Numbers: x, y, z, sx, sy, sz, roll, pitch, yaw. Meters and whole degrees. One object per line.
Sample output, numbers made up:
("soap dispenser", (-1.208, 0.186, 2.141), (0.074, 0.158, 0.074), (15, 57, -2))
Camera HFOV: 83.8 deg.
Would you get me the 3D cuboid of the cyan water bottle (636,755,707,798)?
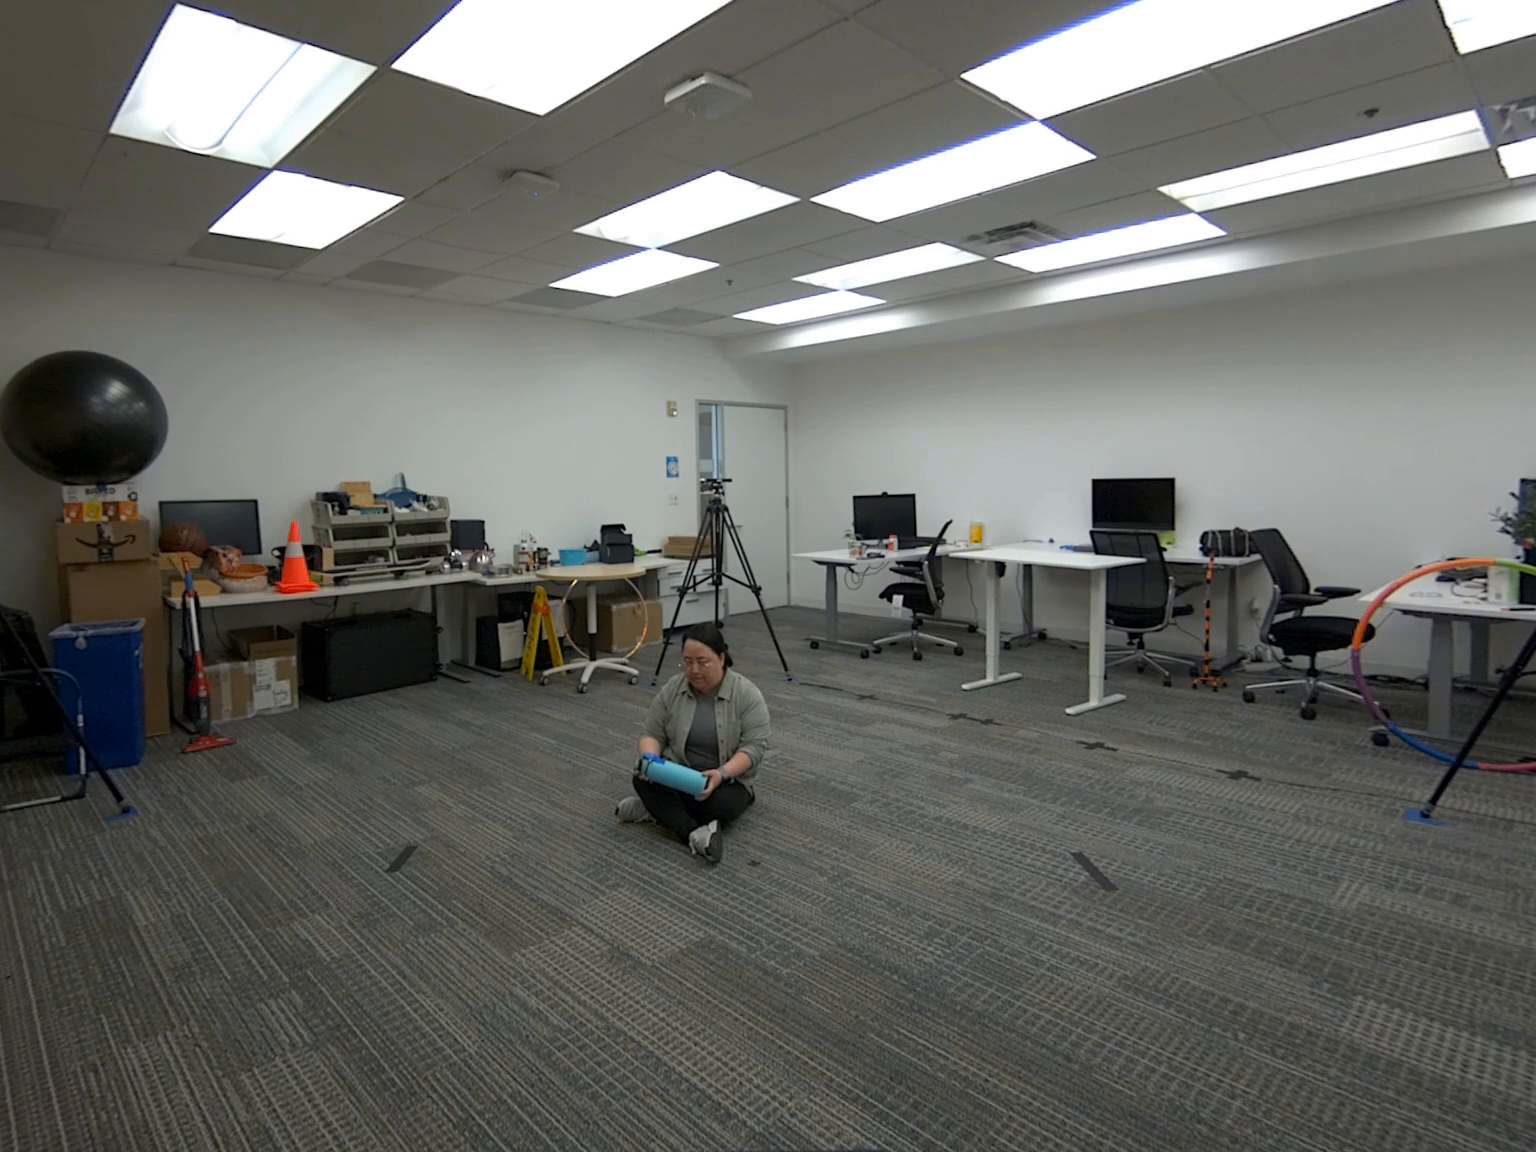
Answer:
("cyan water bottle", (-0.379, 0.775, 3.319), (0.285, 0.092, 0.092), (17, 6, 5))
